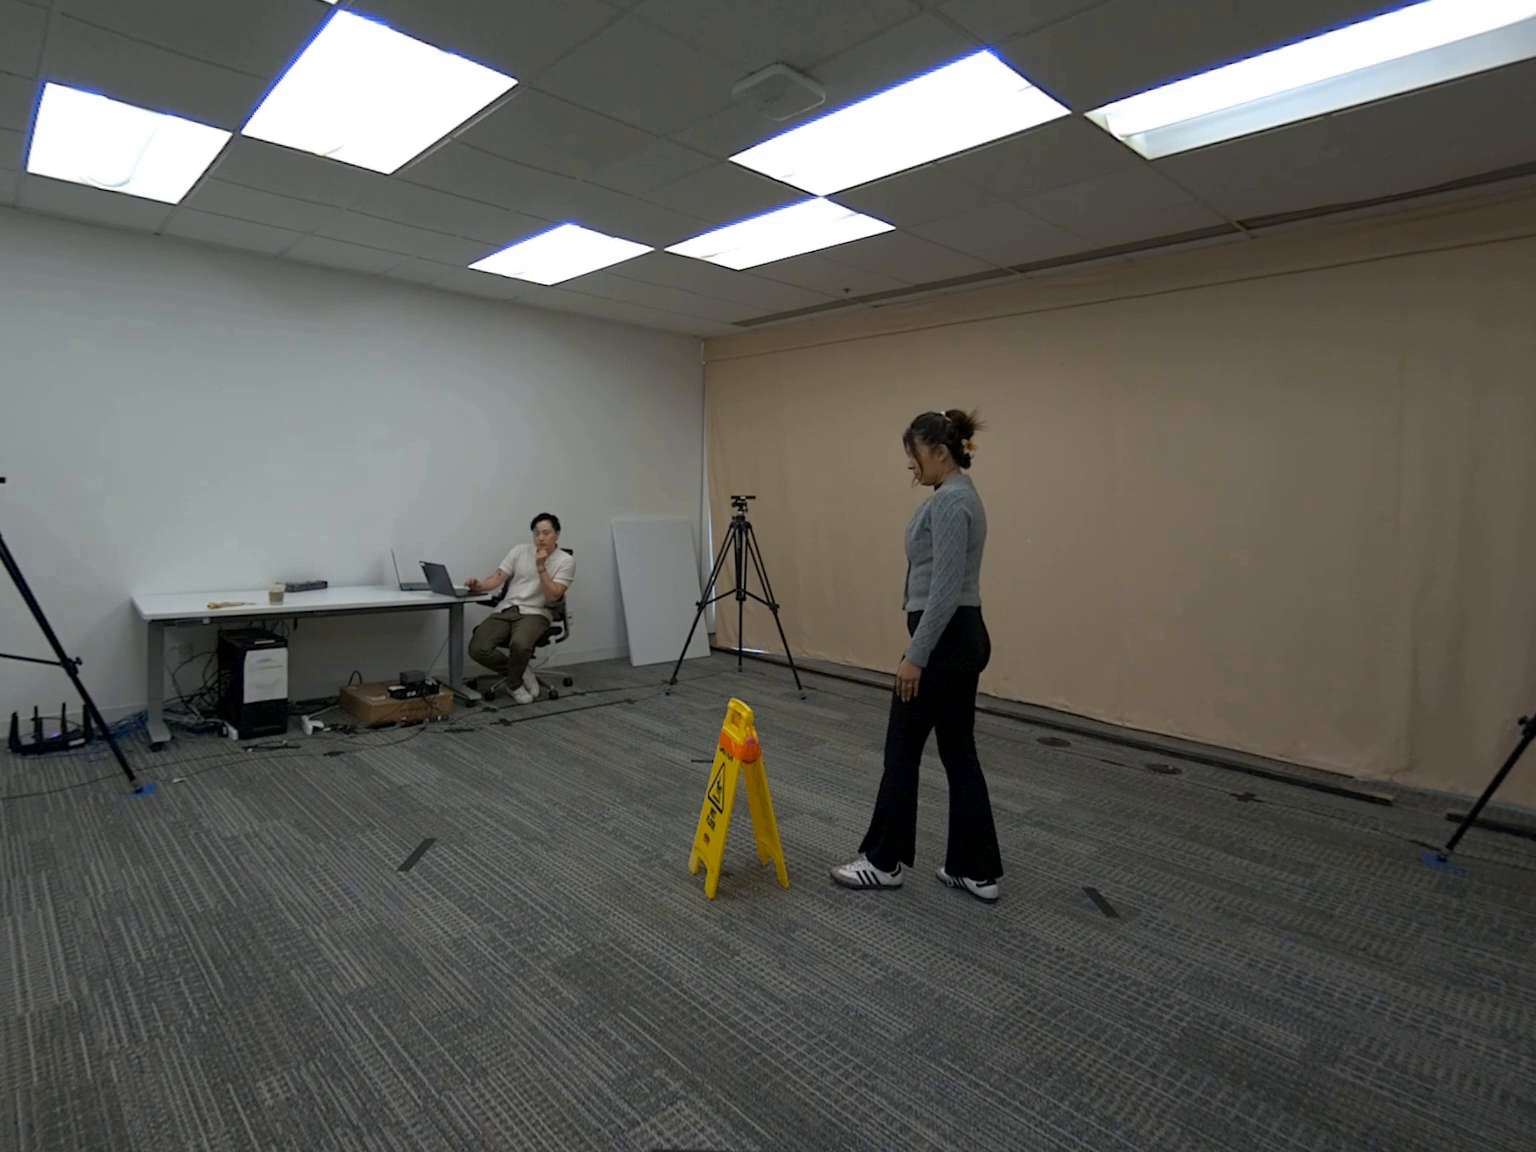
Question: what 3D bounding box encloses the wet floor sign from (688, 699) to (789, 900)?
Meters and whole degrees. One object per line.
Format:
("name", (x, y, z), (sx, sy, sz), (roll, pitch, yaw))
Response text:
("wet floor sign", (-0.112, 0.778, 3.062), (0.285, 0.645, 0.287), (-1, 2, -21))
